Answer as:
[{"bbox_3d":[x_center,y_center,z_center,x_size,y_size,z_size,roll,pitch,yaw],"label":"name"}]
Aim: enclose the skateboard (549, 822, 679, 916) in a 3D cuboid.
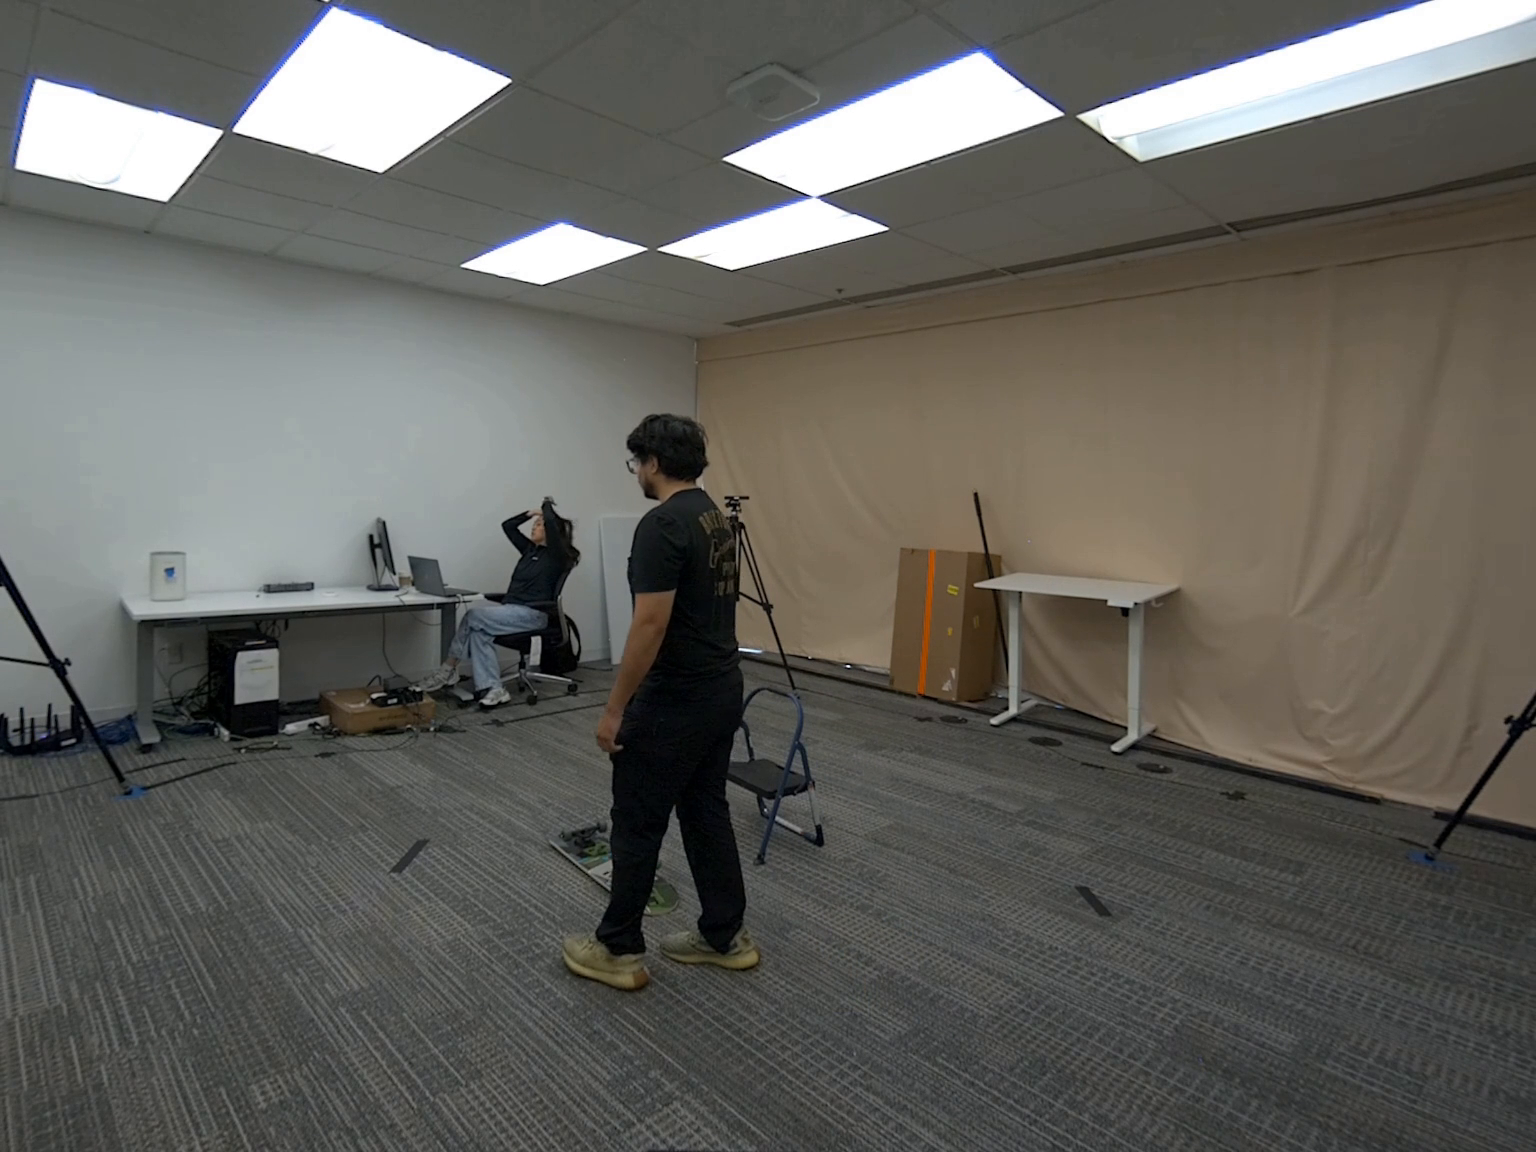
[{"bbox_3d":[-0.596,1.043,3.117,0.189,0.110,0.805,-2,6,-38],"label":"skateboard"}]
